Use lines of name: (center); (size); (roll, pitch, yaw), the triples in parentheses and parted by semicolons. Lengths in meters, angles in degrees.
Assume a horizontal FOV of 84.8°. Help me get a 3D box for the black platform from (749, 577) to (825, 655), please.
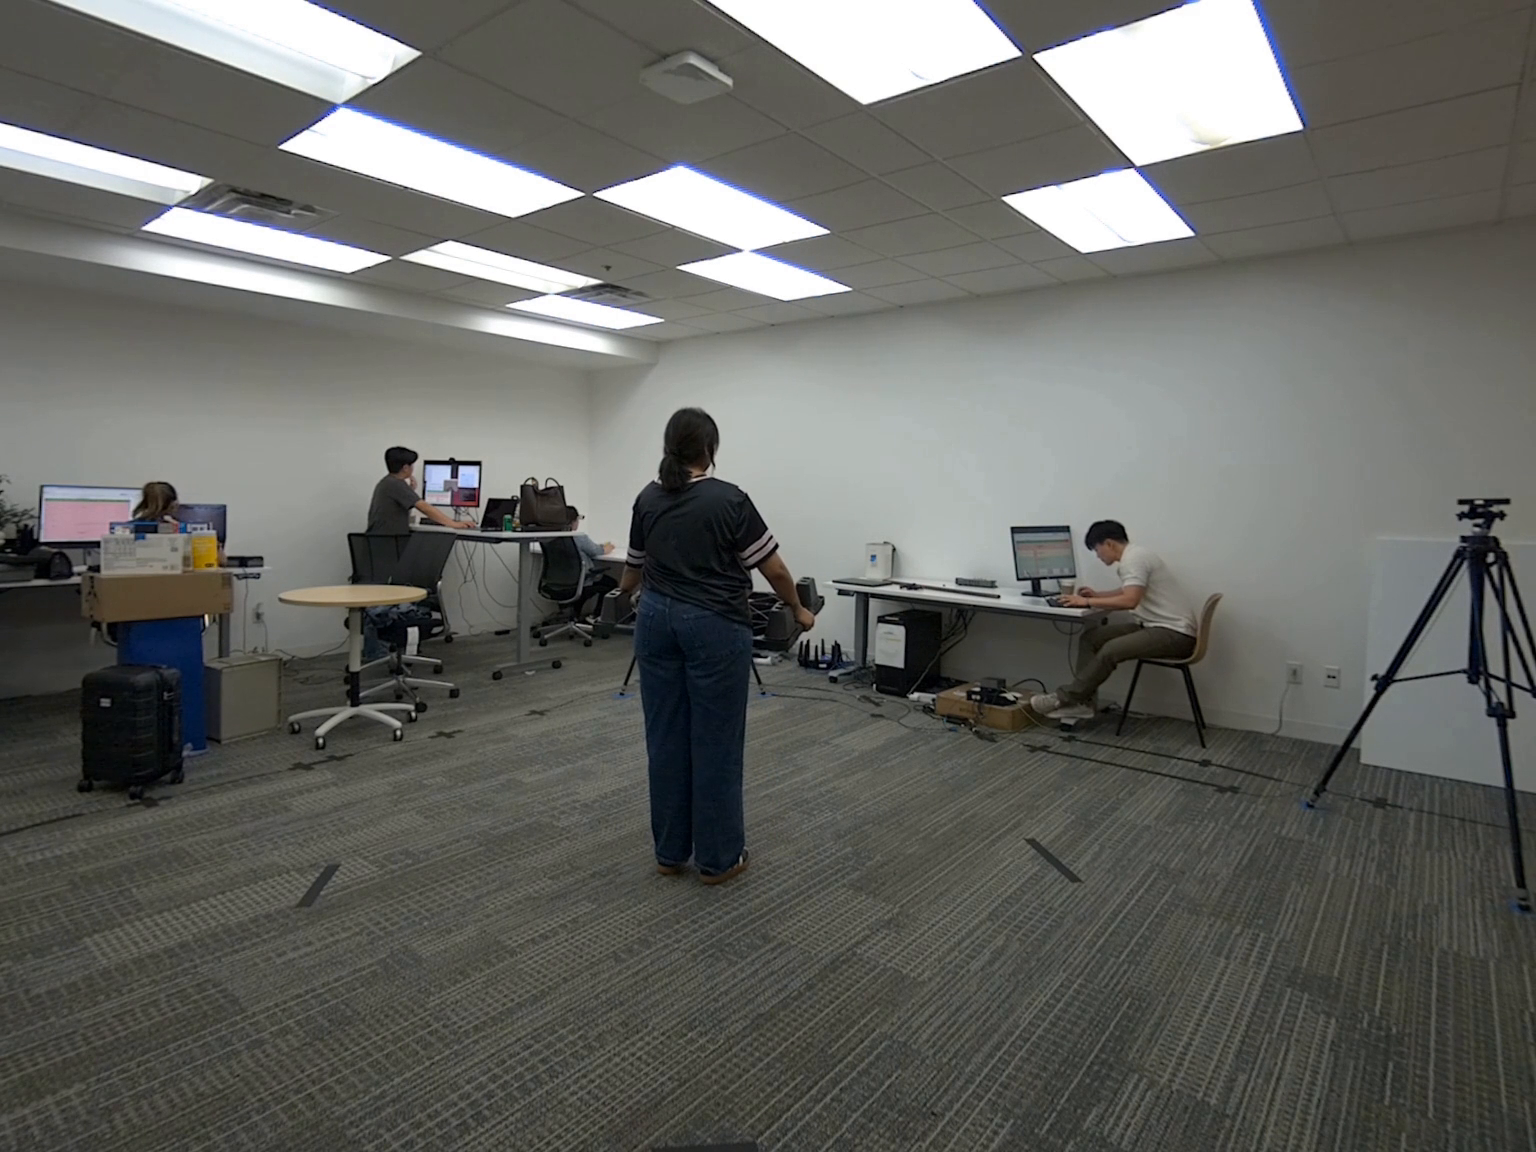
black platform: (-0.227, 0.106, 3.446); (0.822, 0.141, 0.602); (4, 17, 18)
